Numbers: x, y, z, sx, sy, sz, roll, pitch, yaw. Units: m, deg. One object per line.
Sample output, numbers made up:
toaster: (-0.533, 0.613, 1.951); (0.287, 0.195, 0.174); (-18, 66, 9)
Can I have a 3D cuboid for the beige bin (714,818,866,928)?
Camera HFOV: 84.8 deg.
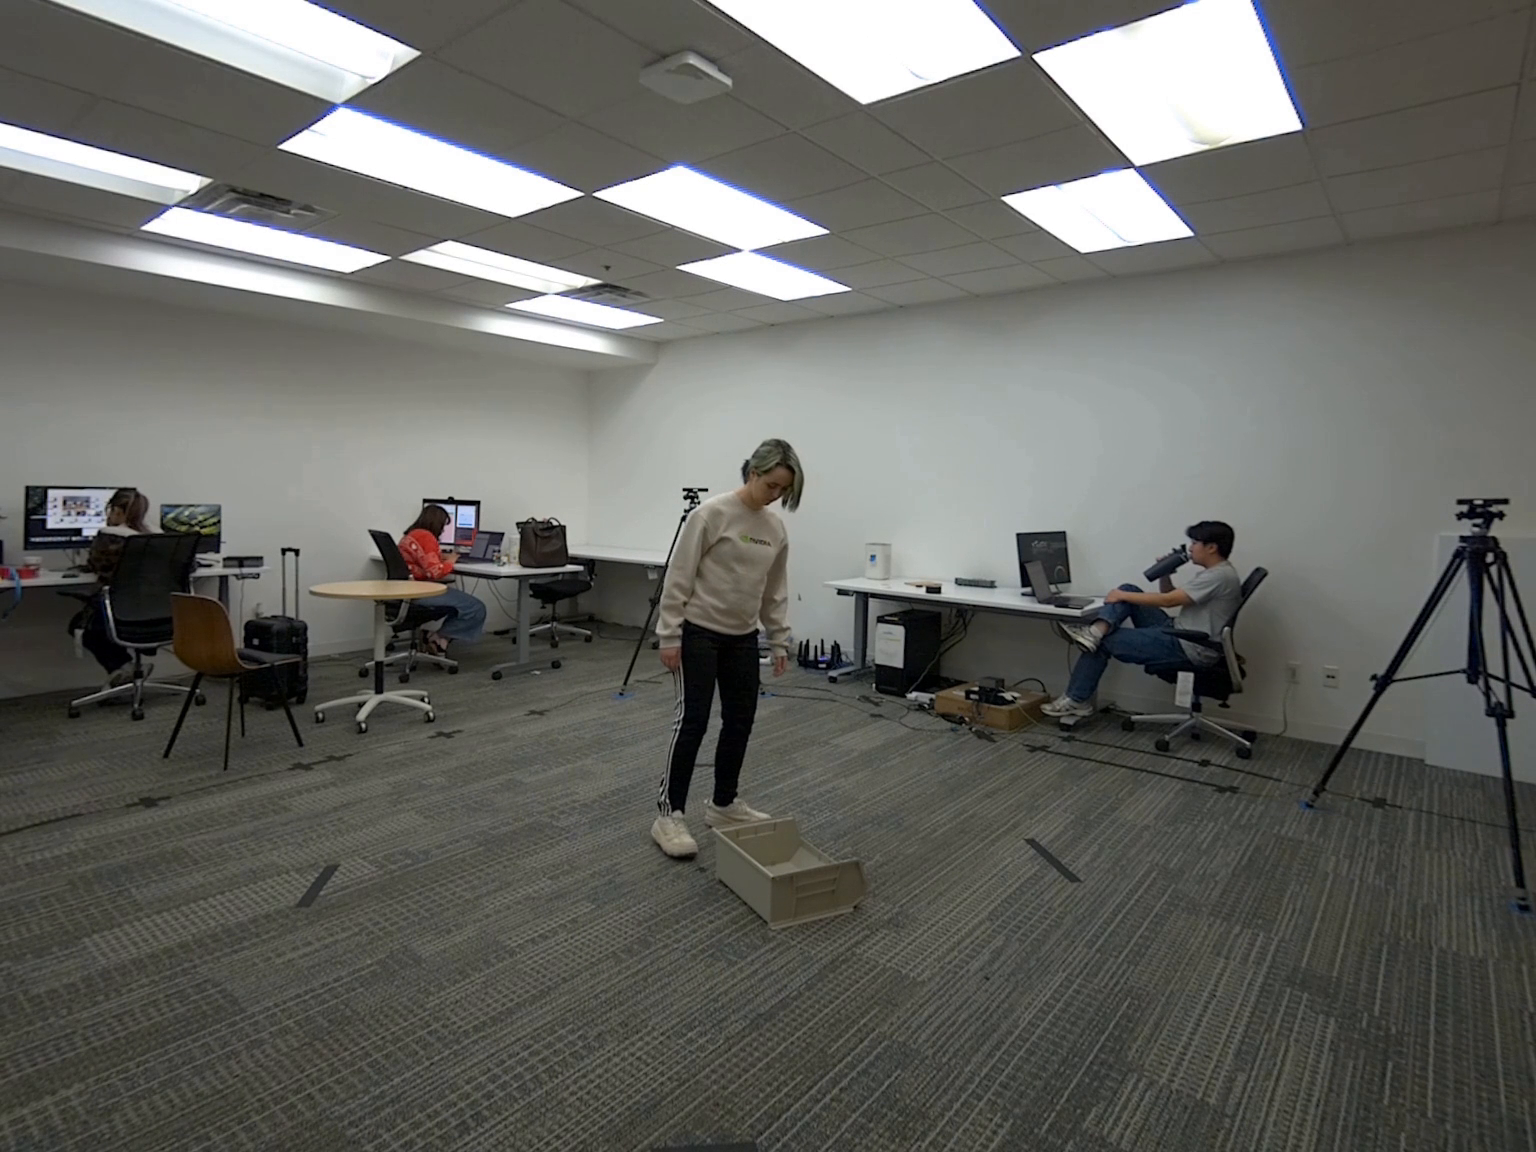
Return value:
beige bin: (0.061, 1.001, 2.940); (0.368, 0.188, 0.435); (-2, 7, -29)
